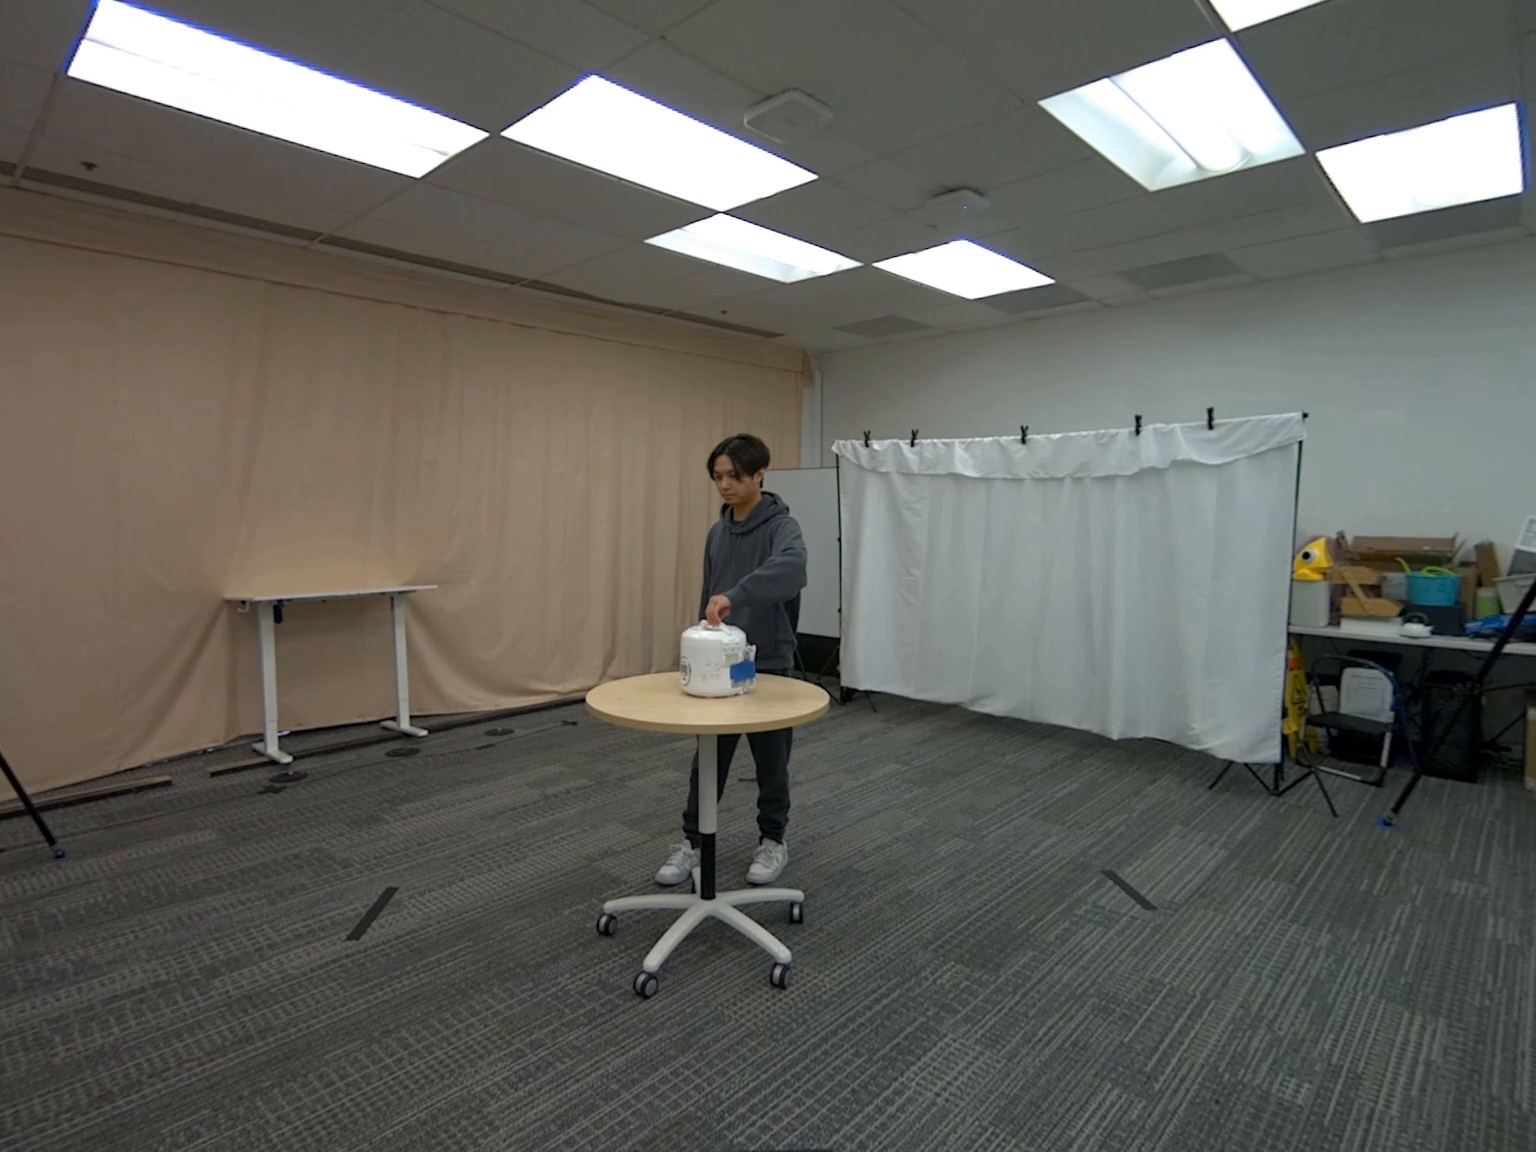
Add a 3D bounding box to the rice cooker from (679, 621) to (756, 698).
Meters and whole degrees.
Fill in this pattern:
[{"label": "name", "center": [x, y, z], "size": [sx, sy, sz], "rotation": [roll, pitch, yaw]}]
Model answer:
[{"label": "rice cooker", "center": [-0.176, 0.257, 2.685], "size": [0.211, 0.232, 0.227], "rotation": [-1, 3, -34]}]
